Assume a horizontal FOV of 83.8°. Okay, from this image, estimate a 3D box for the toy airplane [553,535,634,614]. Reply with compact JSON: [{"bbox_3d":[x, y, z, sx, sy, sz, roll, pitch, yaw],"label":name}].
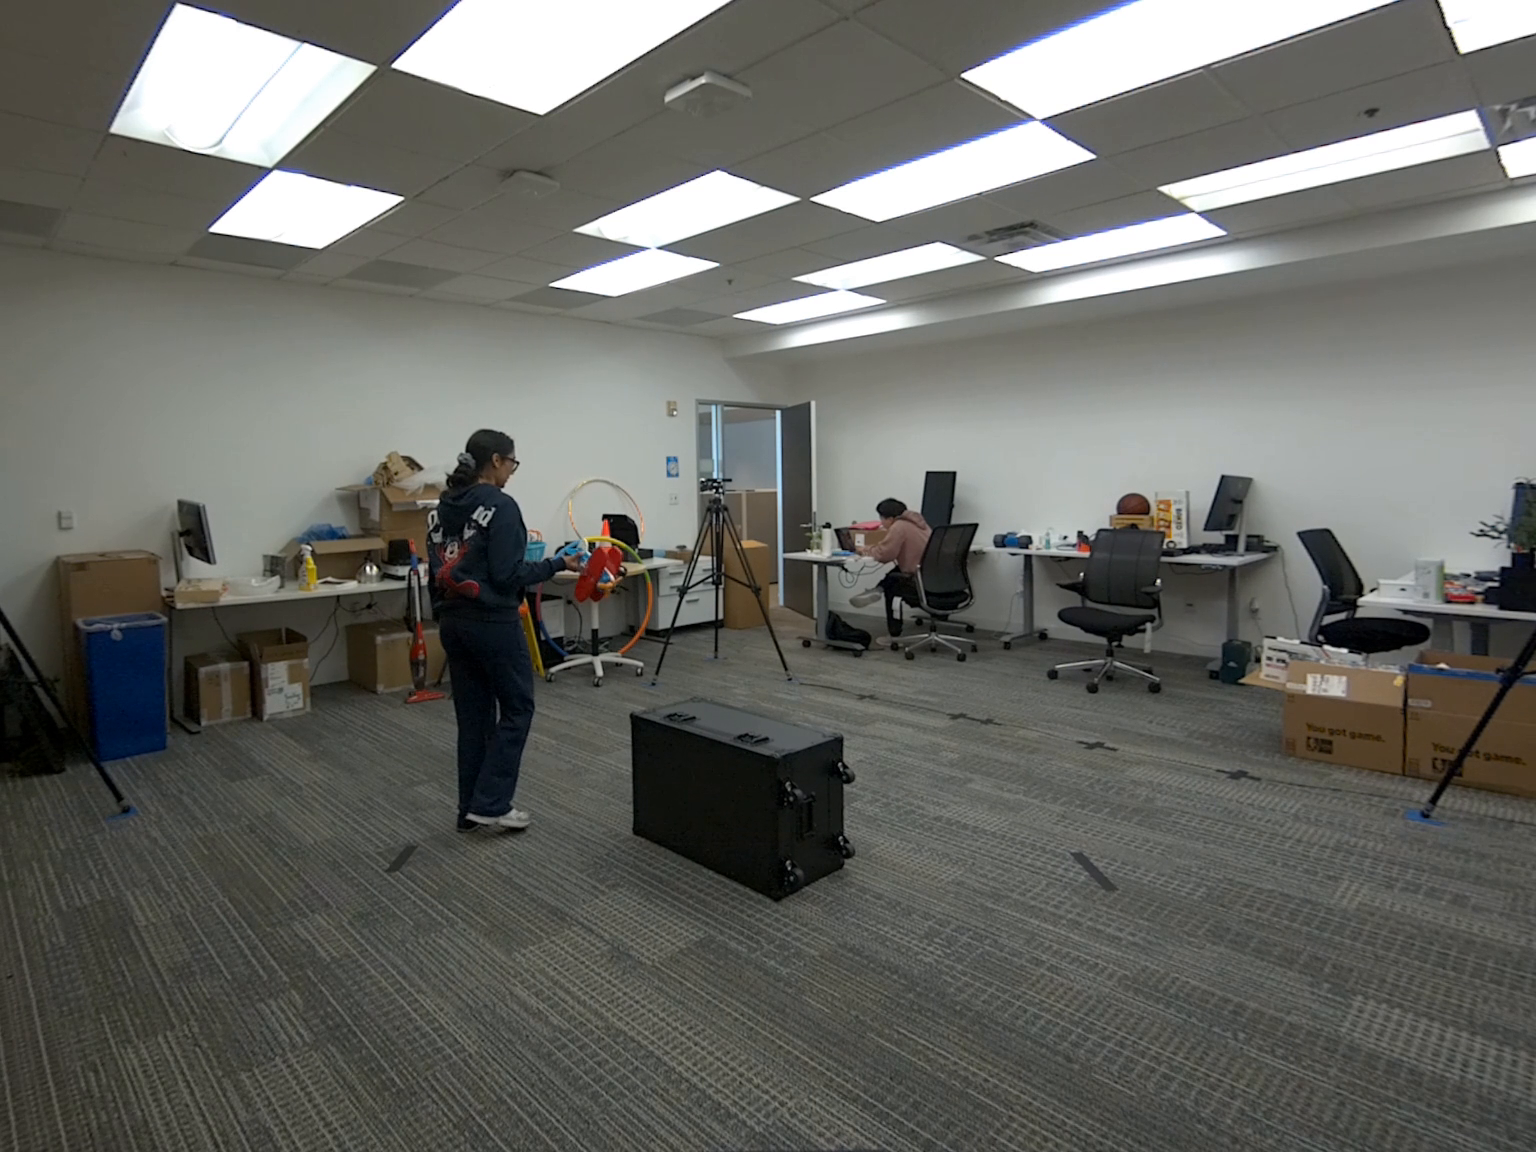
[{"bbox_3d":[-0.704,-0.013,3.444,0.266,0.249,0.153,11,11,27],"label":"toy airplane"}]
